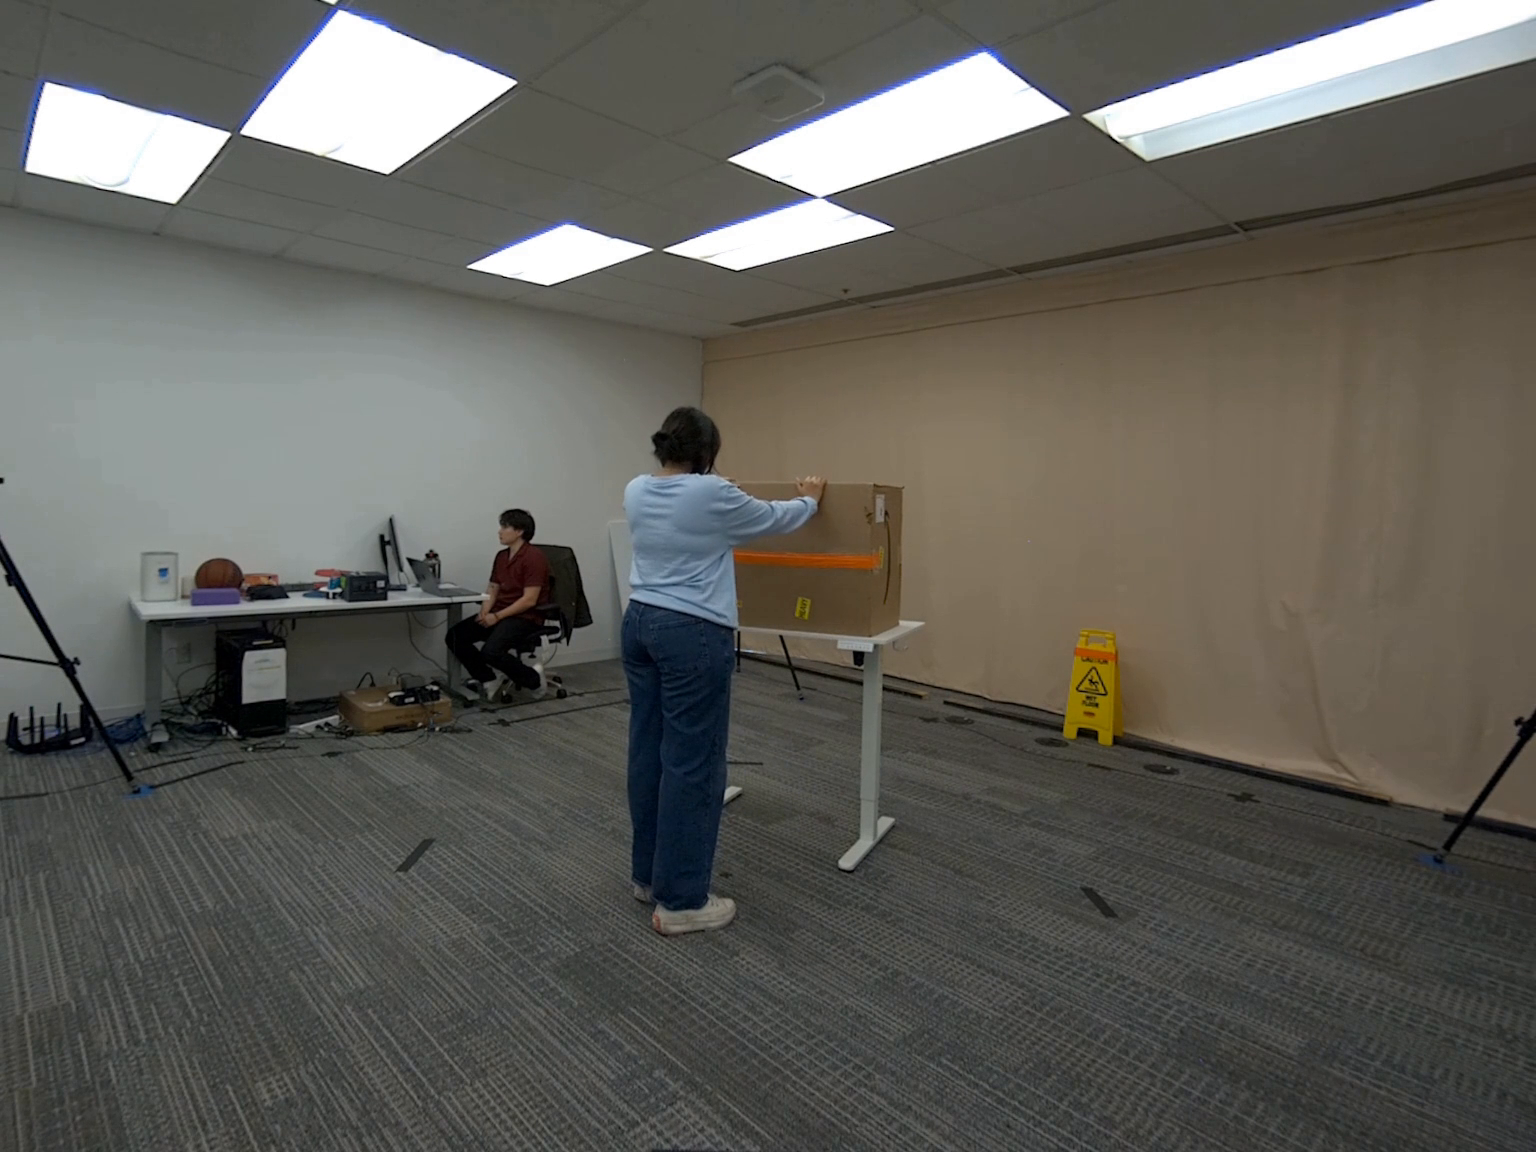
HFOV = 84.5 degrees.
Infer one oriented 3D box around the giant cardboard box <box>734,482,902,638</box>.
[{"bbox_3d":[0.005,-0.097,3.508,1.046,0.576,0.419,3,3,26],"label":"giant cardboard box"}]
